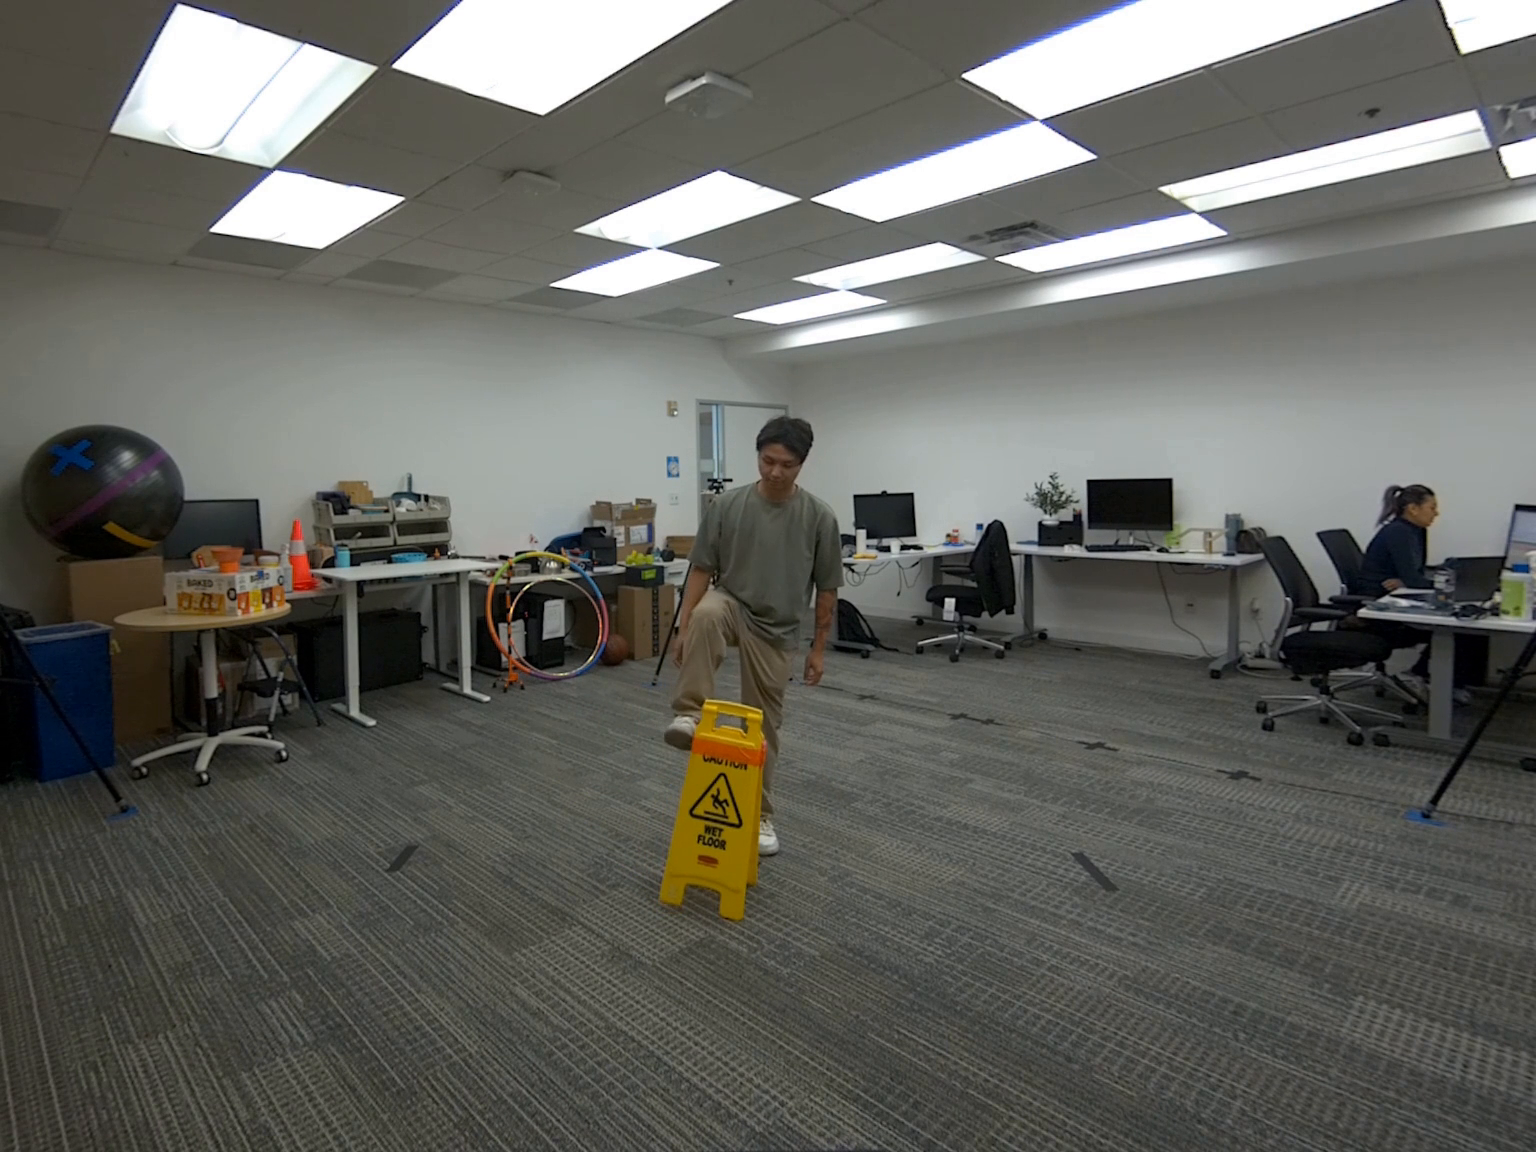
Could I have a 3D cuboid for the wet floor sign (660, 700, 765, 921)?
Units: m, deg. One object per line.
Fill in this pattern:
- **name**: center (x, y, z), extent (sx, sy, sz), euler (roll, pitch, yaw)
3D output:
- **wet floor sign**: center (-0.144, 0.748, 2.816), extent (0.286, 0.642, 0.288), euler (8, 8, 11)
